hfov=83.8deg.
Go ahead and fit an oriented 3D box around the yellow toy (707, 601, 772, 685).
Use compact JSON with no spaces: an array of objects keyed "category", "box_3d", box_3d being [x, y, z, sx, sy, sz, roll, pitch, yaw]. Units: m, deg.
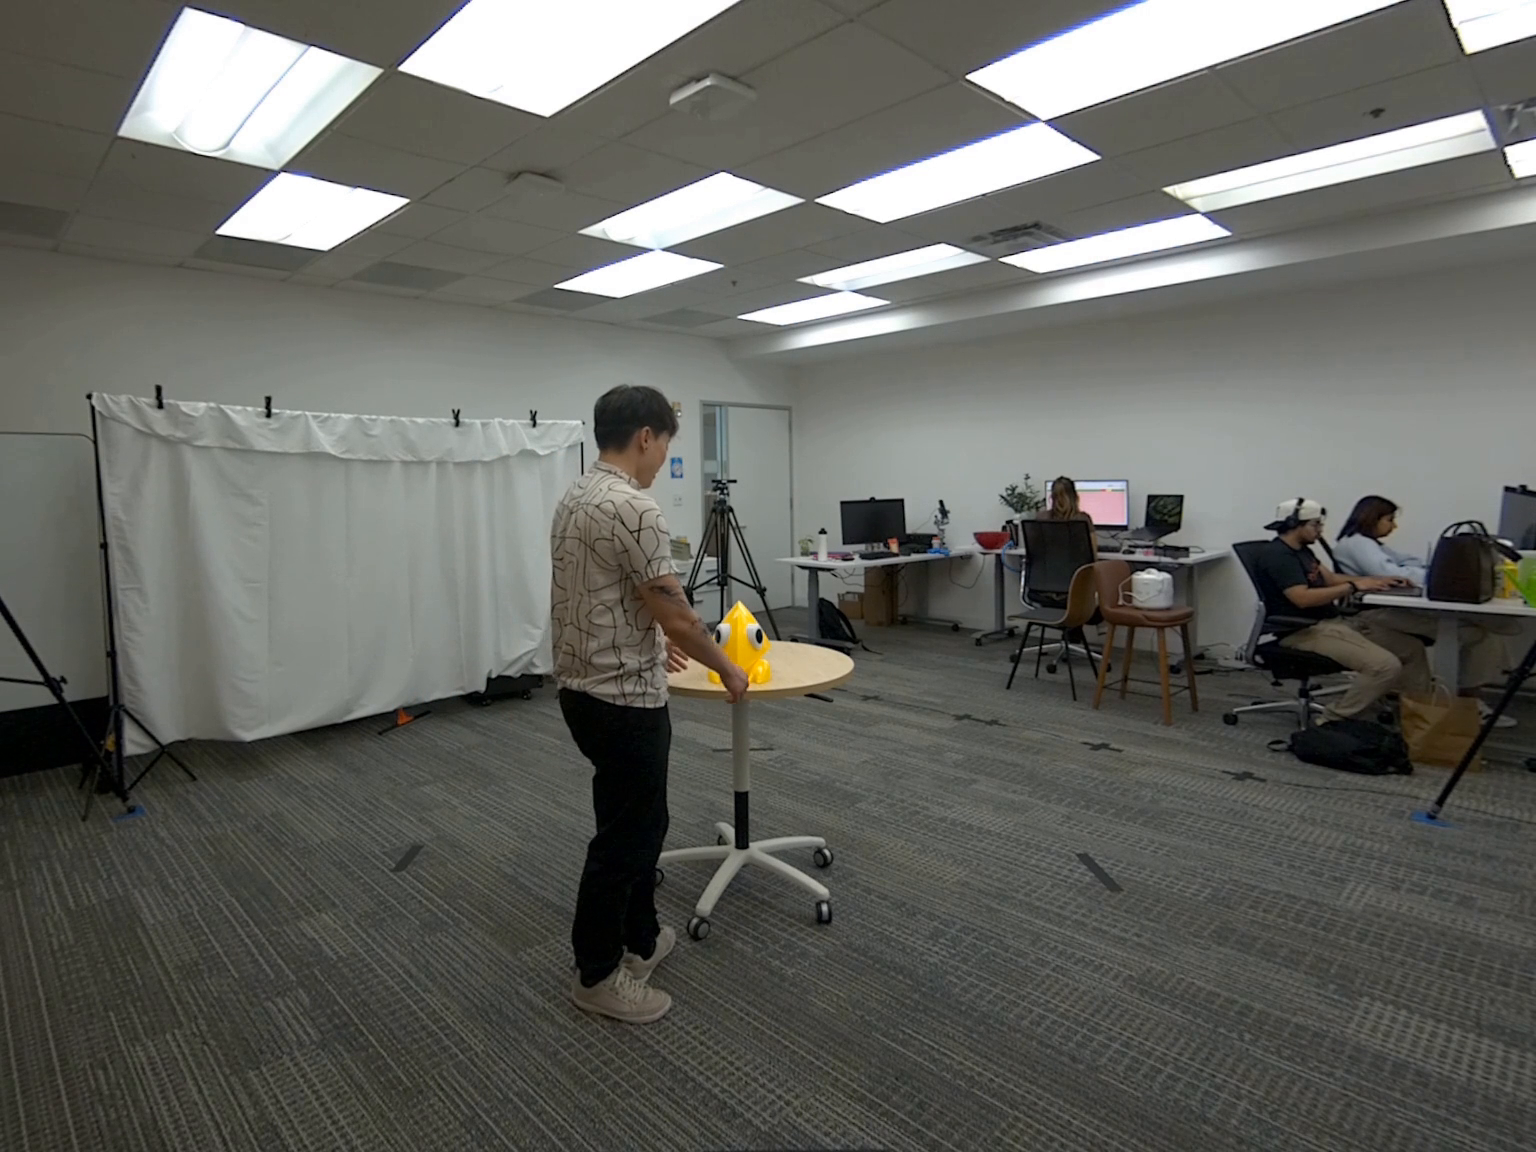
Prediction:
[{"category":"yellow toy","box_3d":[-0.086,0.201,2.670,0.205,0.230,0.193,-1,3,2]}]
